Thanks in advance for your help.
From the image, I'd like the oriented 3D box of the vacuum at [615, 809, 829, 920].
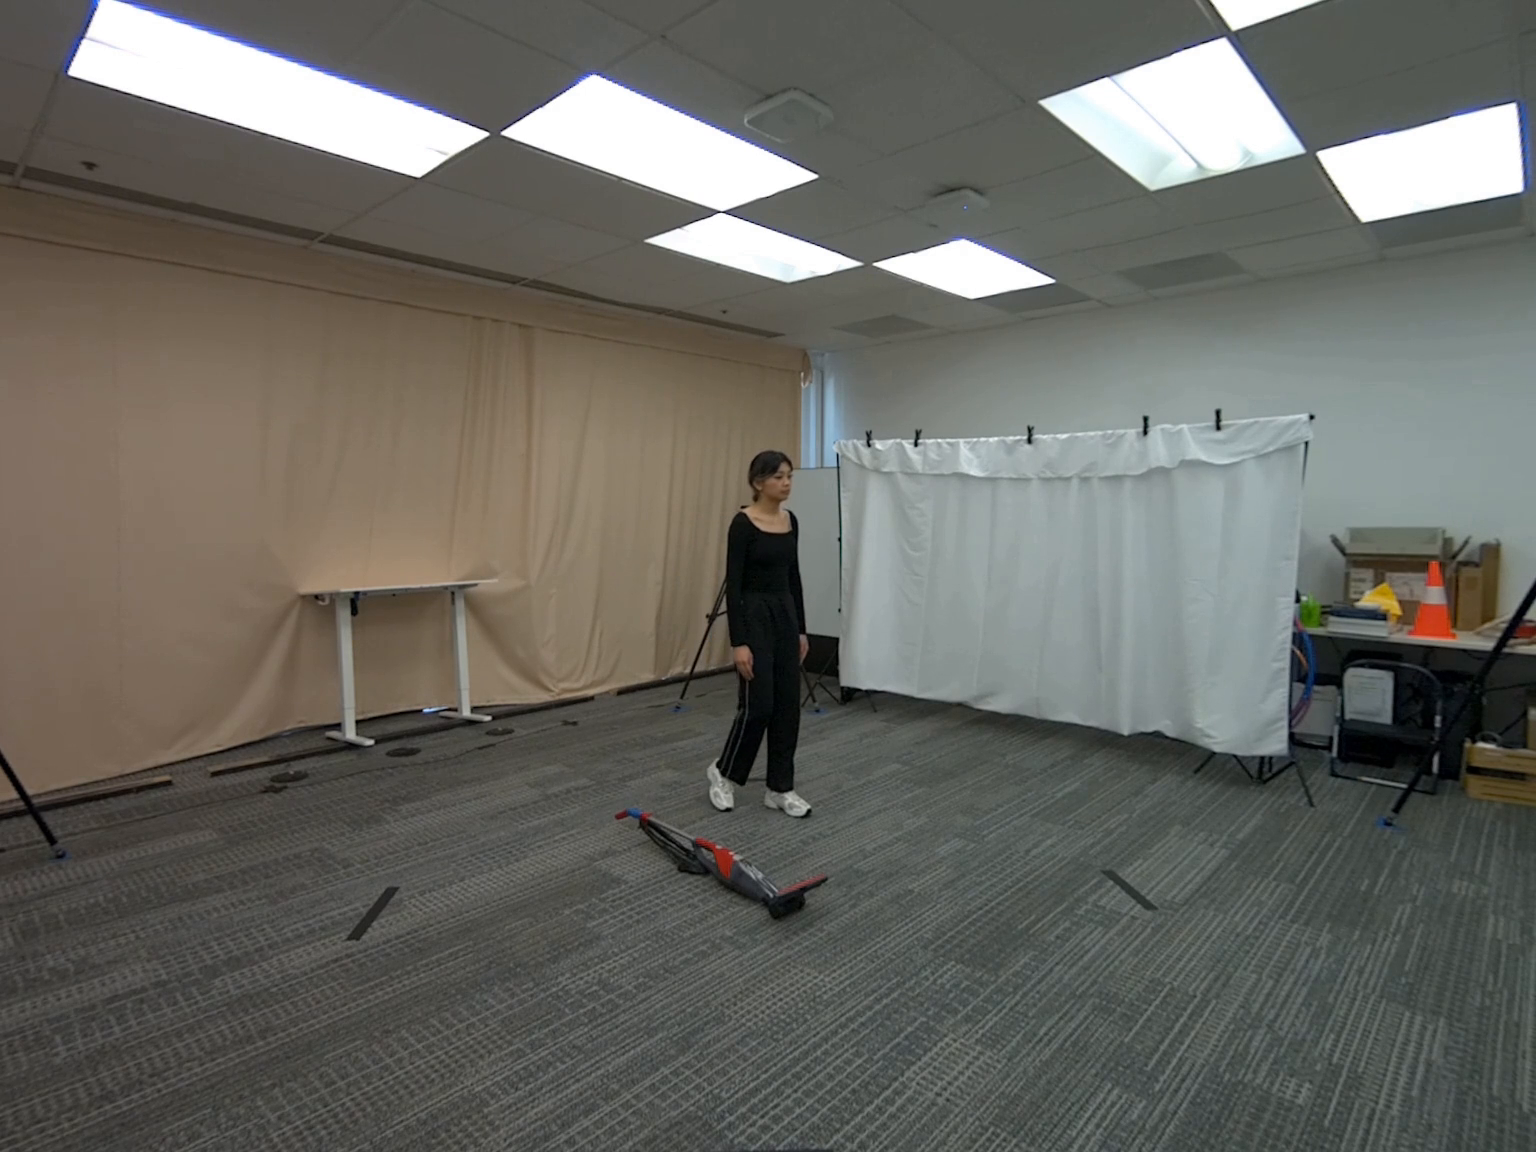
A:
[{"bbox_3d":[-0.277,1.064,3.240,0.245,0.144,1.084,-2,3,-43],"label":"vacuum"}]
